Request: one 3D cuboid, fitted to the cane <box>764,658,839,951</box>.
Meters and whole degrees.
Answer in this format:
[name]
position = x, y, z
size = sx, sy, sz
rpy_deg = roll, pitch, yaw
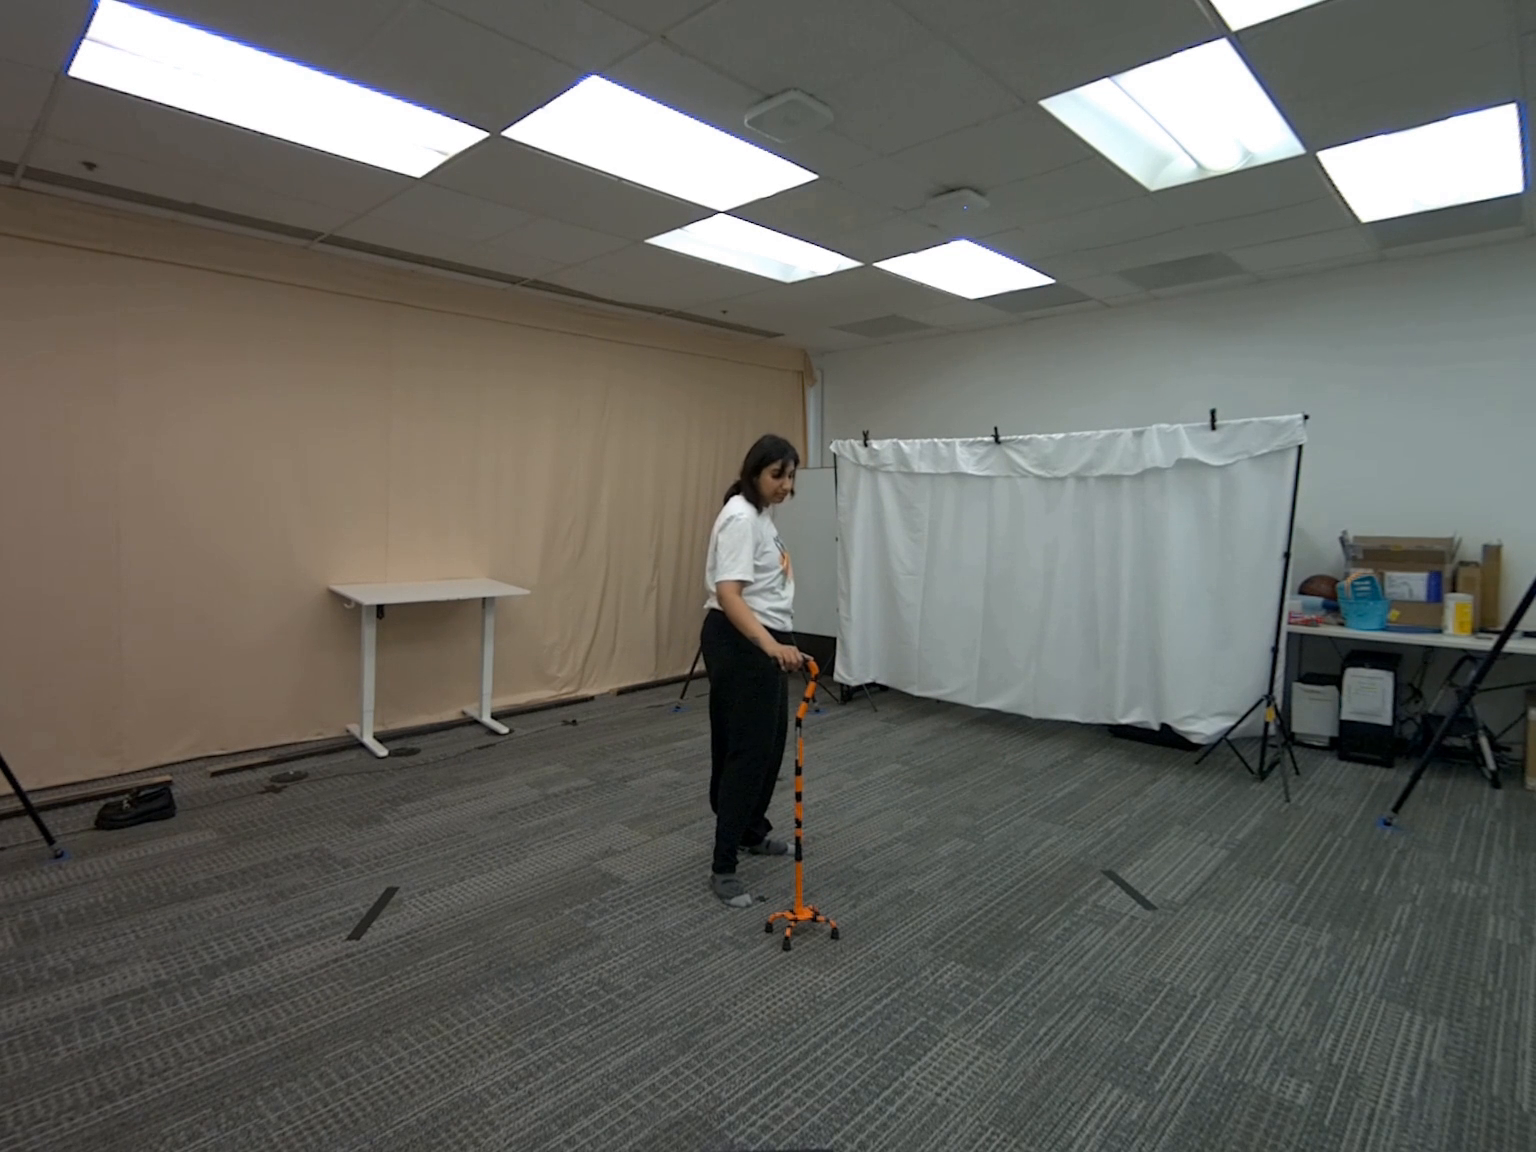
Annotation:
[cane]
position = 0.113, 0.714, 2.709
size = 0.201, 0.906, 0.155
rpy_deg = -1, 3, -26
